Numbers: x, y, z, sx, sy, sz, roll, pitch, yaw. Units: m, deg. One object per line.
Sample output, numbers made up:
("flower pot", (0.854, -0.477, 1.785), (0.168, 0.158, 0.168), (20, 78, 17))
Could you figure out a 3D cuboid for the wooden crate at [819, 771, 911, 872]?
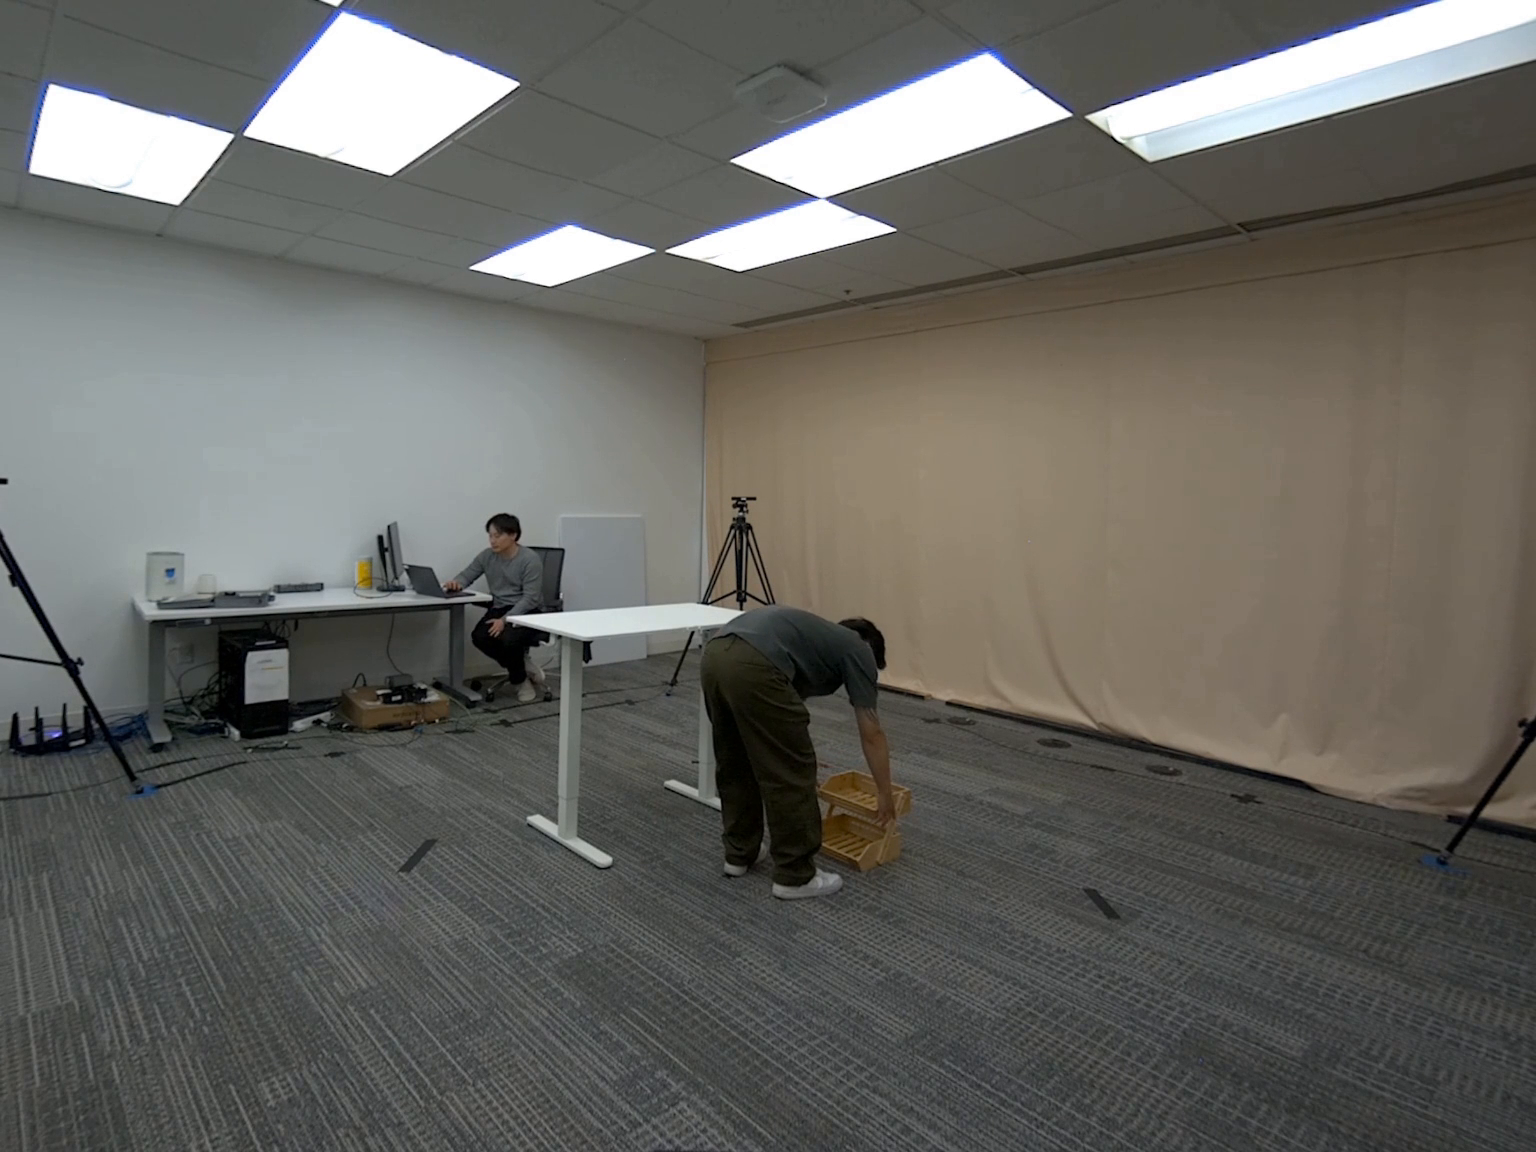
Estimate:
("wooden crate", (0.342, 0.962, 3.358), (0.295, 0.273, 0.333), (-1, 4, -42))
